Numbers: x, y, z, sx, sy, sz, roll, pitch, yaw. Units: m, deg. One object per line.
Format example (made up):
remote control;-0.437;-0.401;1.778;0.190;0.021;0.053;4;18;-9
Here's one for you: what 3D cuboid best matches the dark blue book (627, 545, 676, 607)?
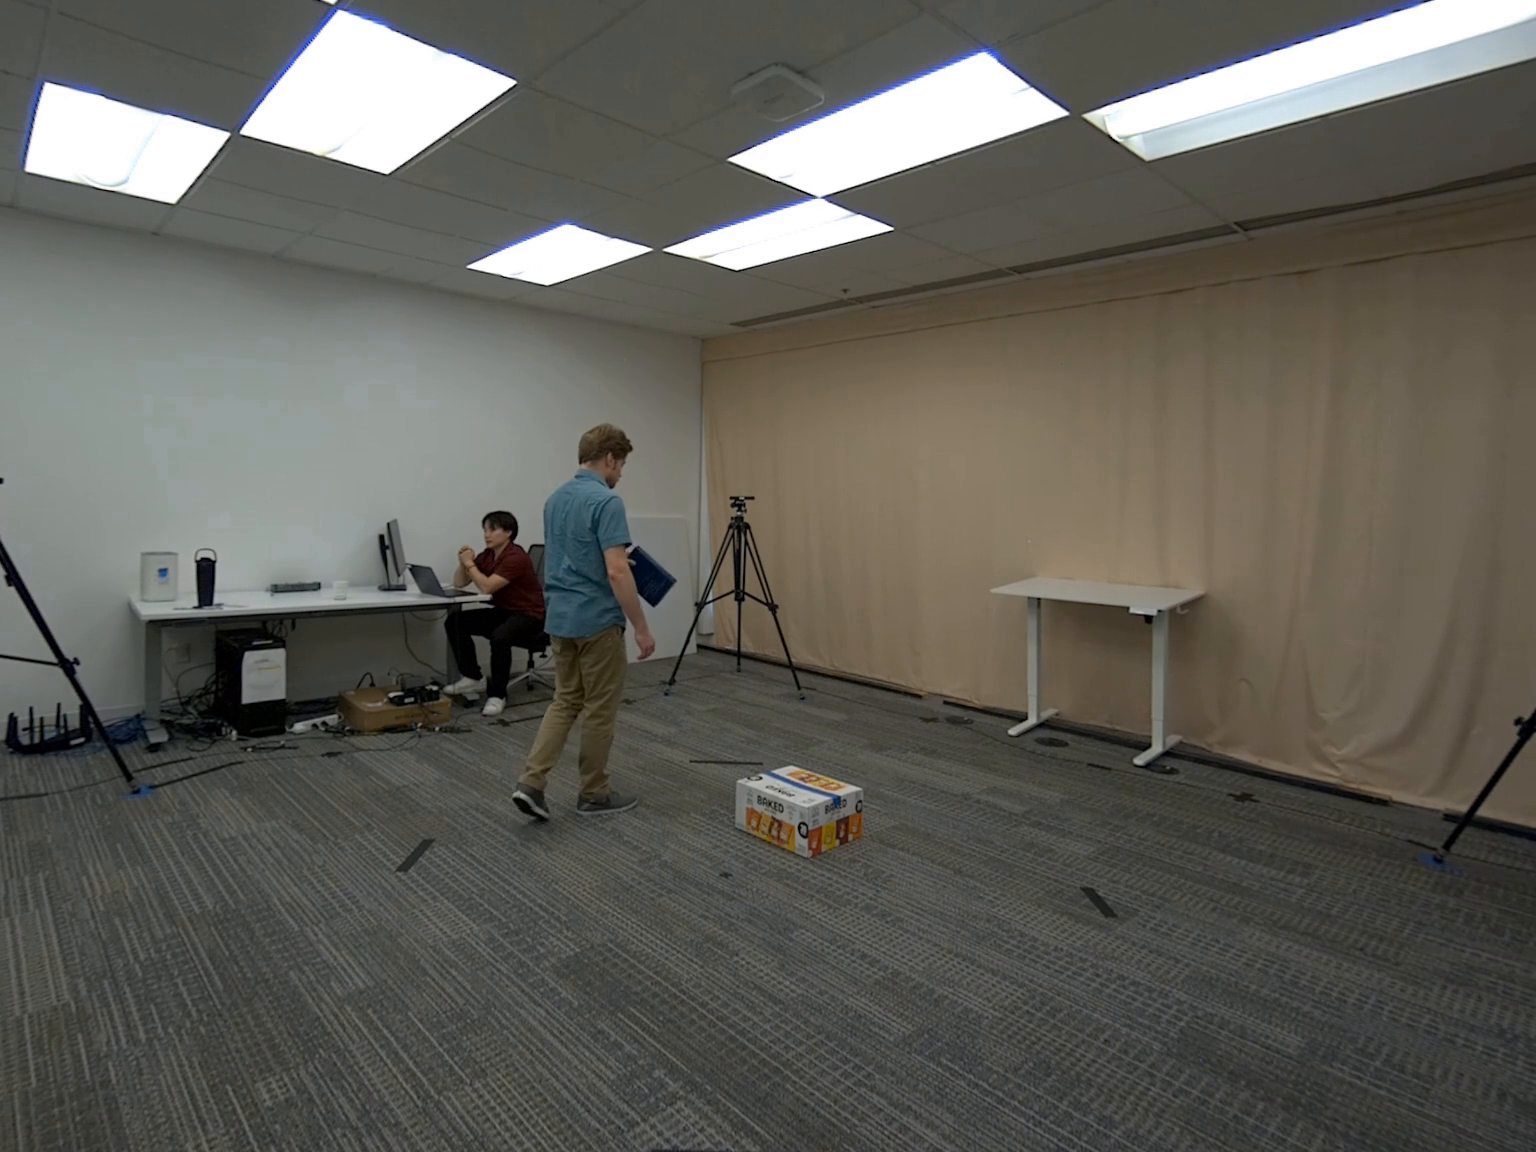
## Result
dark blue book;-0.571;0.001;3.862;0.247;0.163;0.045;42;12;9
